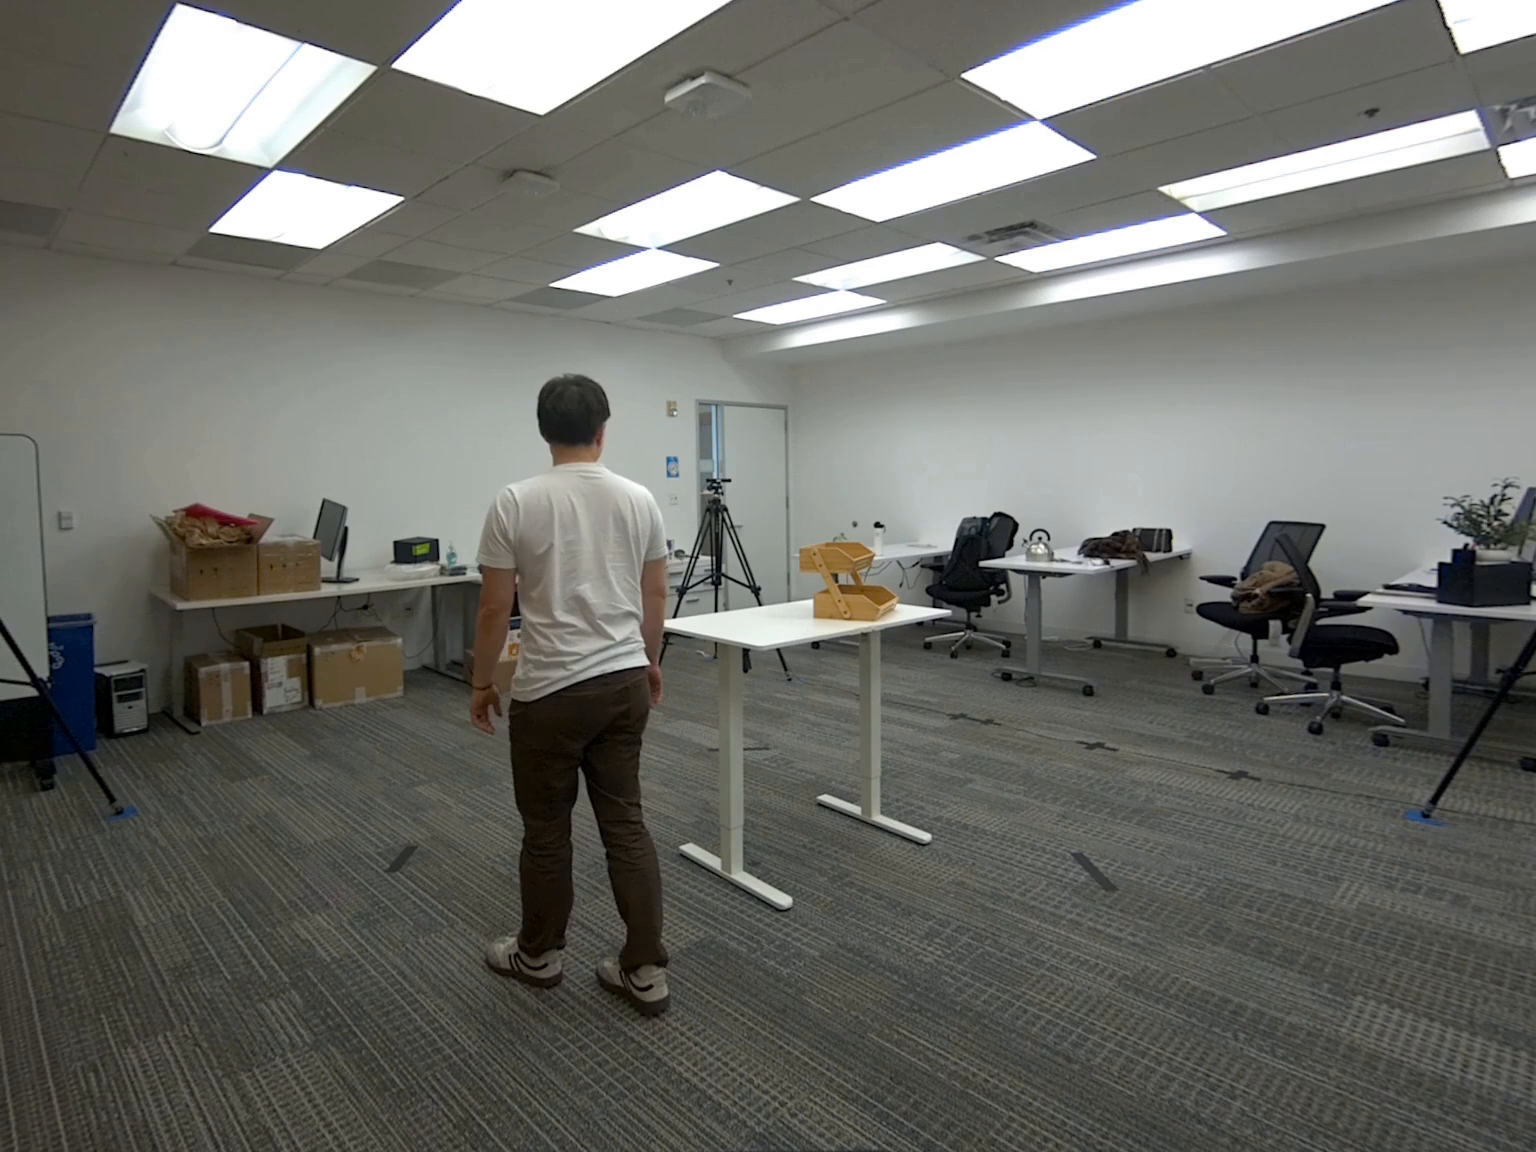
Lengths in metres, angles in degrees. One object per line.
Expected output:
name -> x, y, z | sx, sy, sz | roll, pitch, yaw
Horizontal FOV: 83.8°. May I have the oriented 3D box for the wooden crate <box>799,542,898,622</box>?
wooden crate -> 0.319, 0.009, 3.233 | 0.308, 0.272, 0.319 | 0, 5, 22
